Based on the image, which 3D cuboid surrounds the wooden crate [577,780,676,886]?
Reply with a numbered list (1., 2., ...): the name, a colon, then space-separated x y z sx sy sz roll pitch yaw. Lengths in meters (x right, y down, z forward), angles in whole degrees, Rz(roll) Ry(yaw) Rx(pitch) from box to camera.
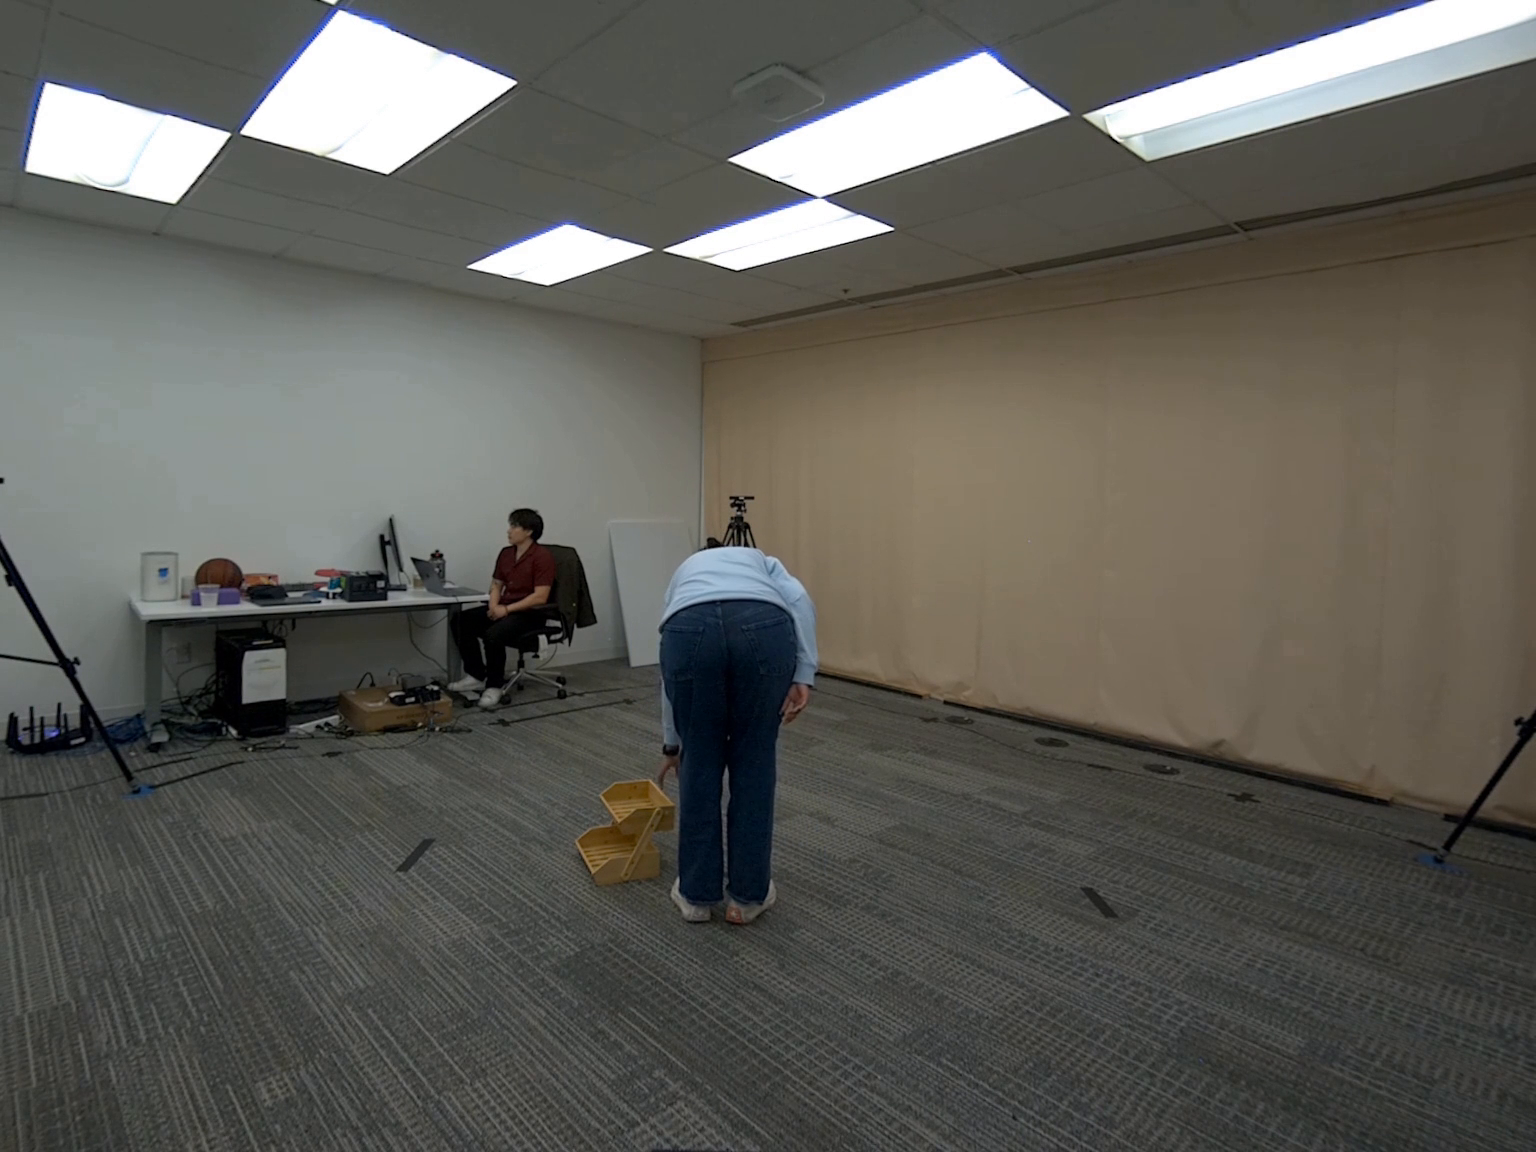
1. wooden crate: -0.558 0.954 3.177 0.297 0.272 0.331 0 5 -24
